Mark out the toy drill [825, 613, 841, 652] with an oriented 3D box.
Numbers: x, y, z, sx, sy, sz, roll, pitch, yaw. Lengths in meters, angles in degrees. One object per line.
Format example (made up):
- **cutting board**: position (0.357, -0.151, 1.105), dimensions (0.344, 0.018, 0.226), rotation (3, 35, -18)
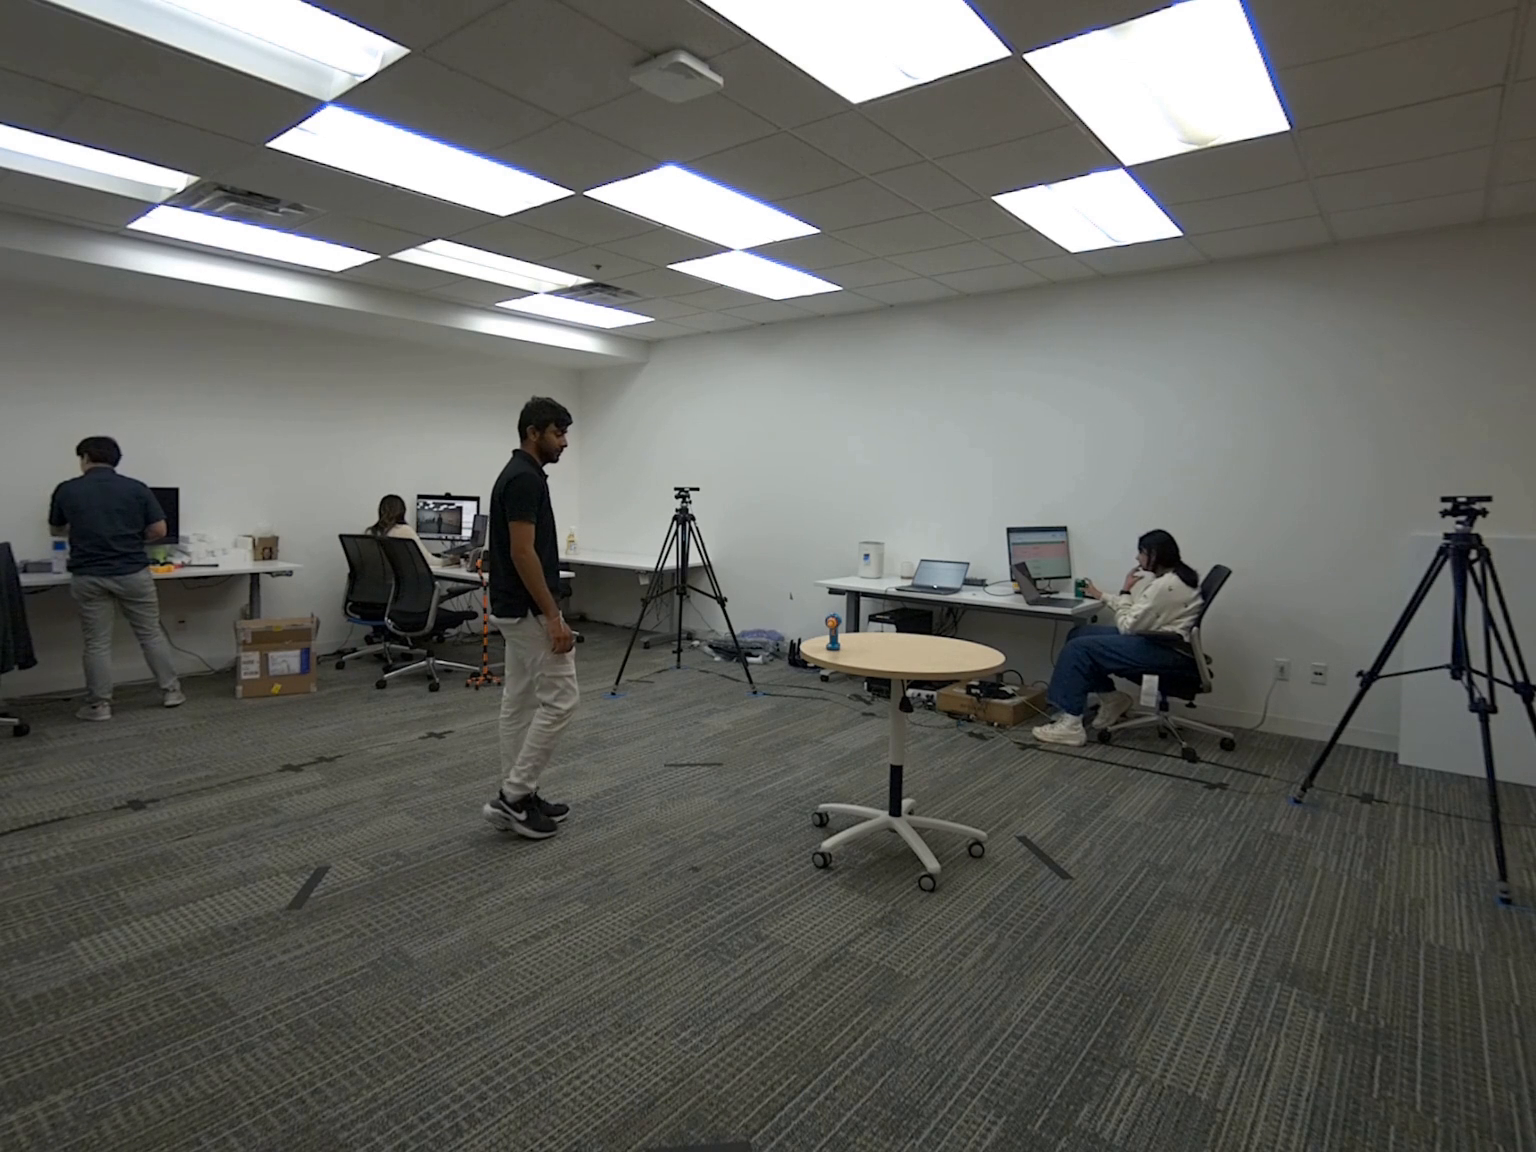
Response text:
- **toy drill**: position (0.241, 0.208, 3.228), dimensions (0.061, 0.145, 0.169), rotation (-2, 4, 4)
